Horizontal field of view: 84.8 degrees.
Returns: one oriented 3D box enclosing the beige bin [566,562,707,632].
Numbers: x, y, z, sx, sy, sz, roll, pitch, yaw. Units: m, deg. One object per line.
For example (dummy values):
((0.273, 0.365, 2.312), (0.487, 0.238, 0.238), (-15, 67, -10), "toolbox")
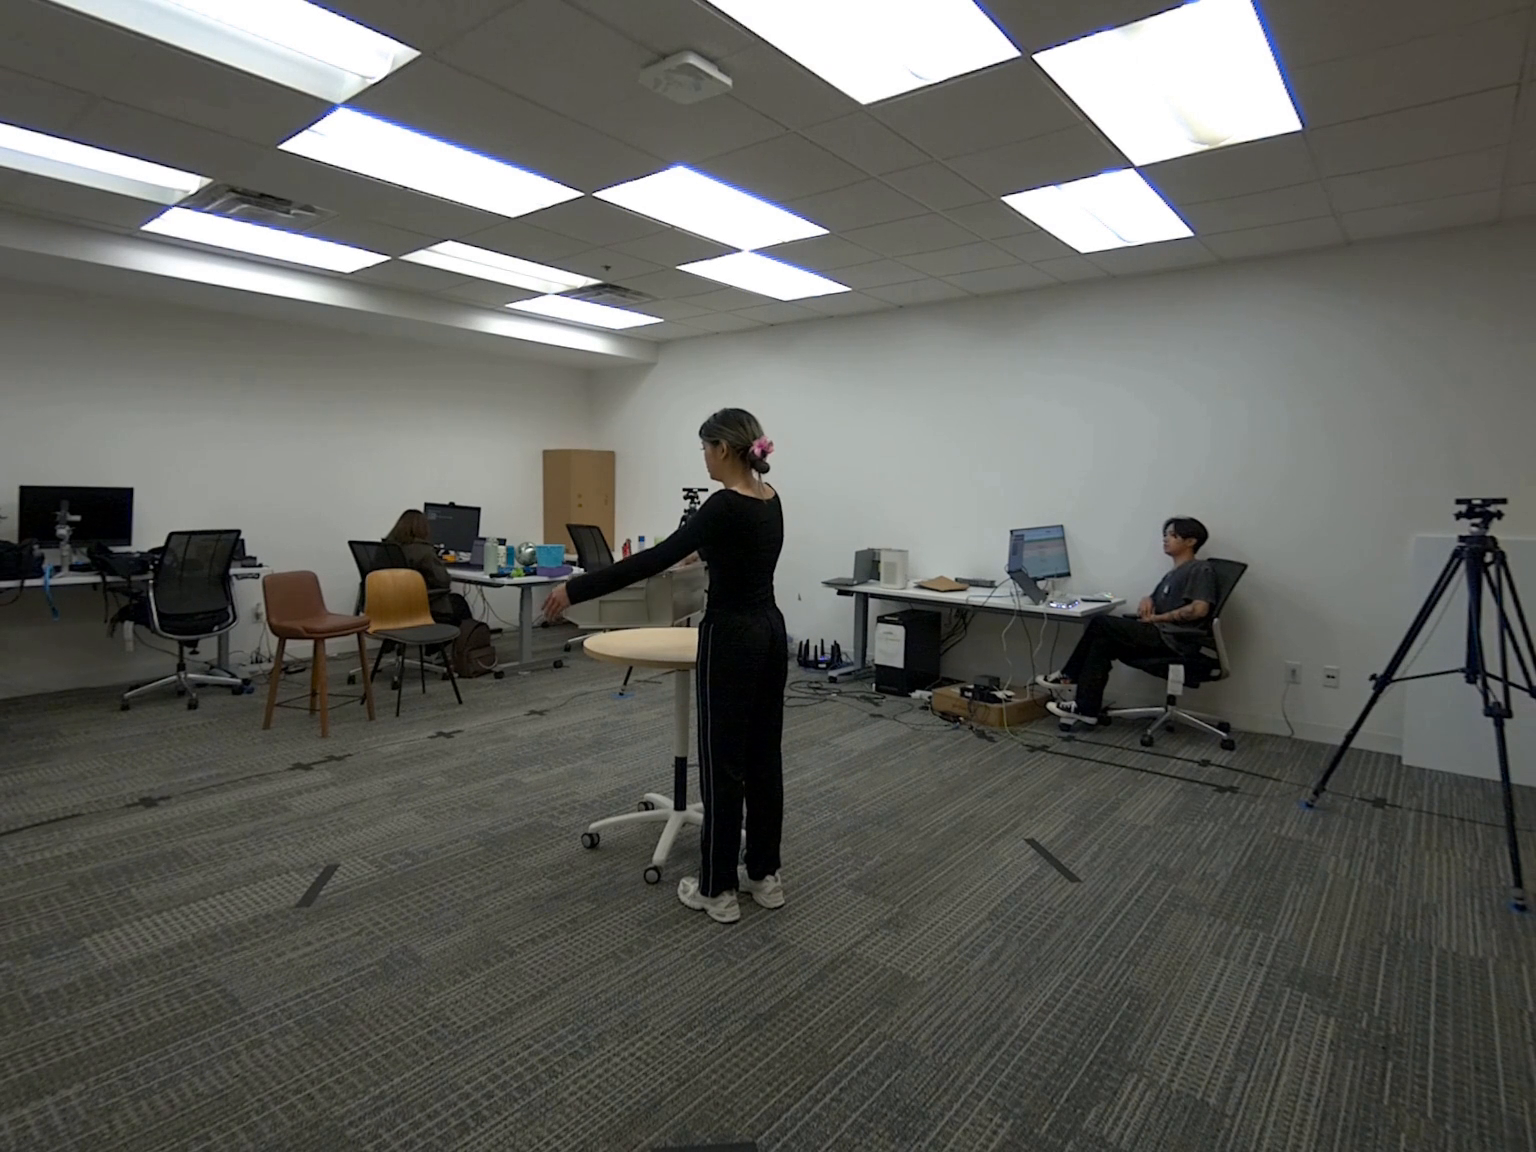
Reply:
((-0.444, 0.059, 2.875), (0.383, 0.188, 0.417), (0, 4, 13), "beige bin")
